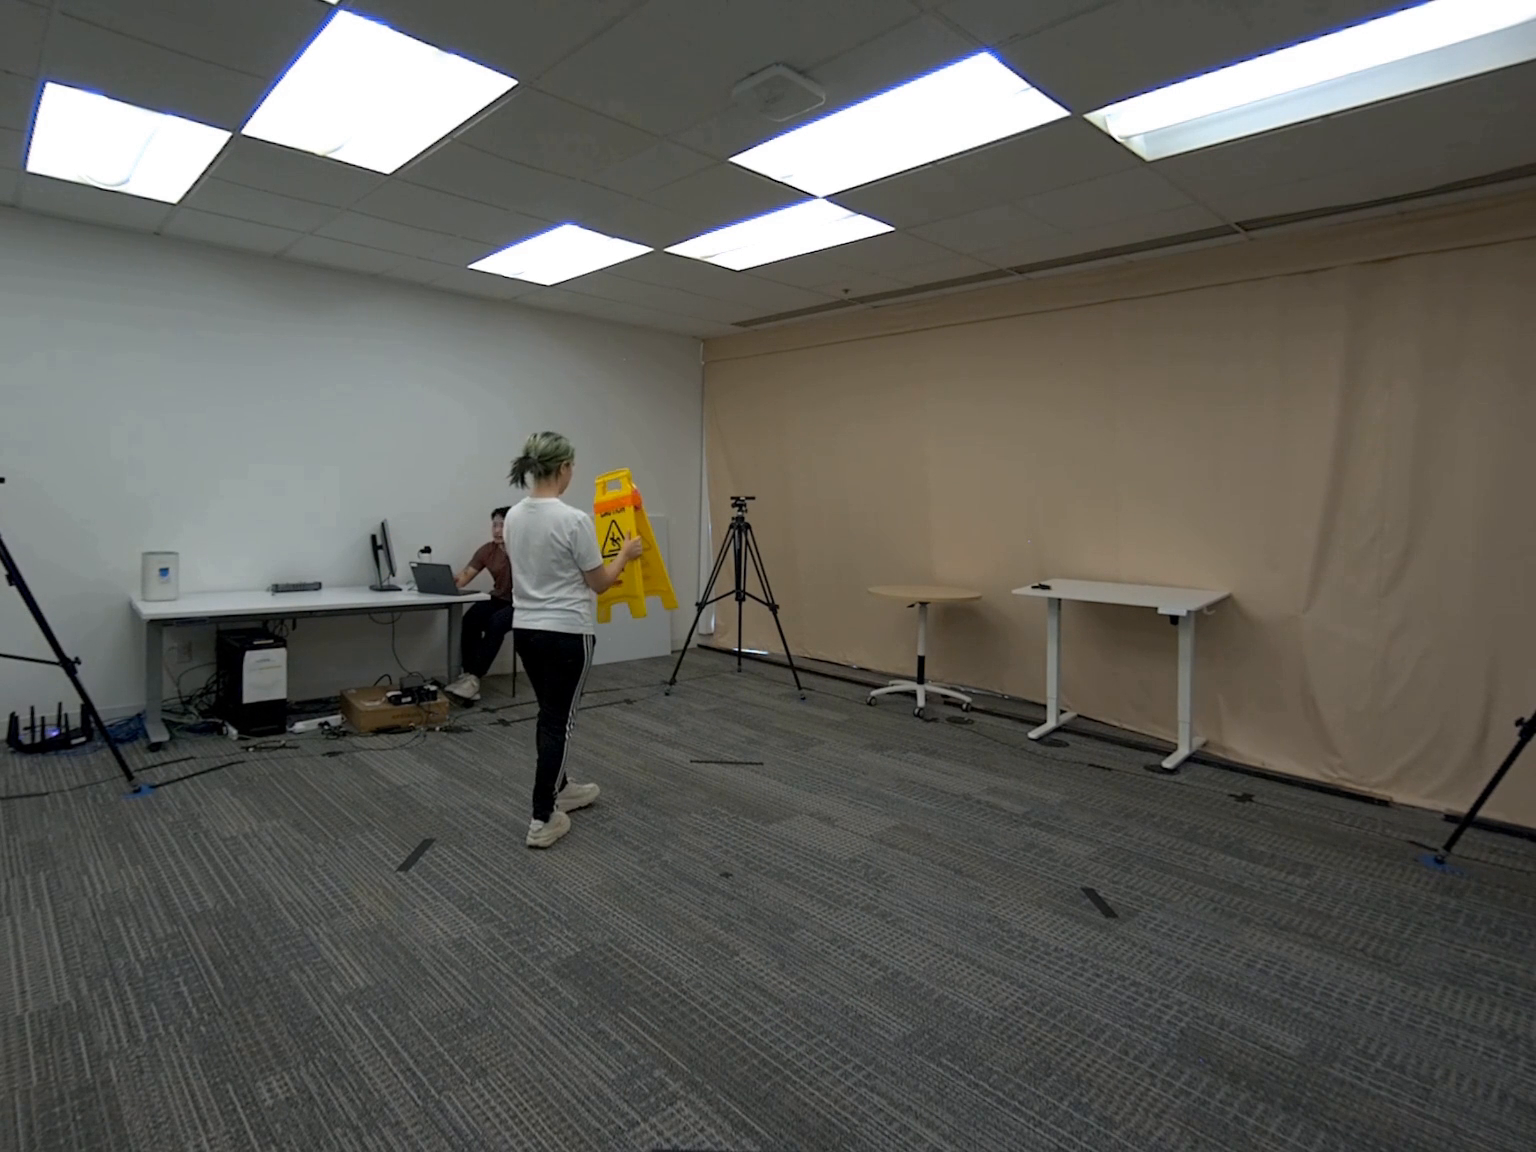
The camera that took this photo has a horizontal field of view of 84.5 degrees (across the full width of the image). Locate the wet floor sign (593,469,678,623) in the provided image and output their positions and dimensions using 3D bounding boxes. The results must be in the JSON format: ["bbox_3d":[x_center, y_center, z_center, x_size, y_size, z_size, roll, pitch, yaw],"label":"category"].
[{"bbox_3d":[-0.648,-0.140,3.750,0.287,0.646,0.284,-10,-1,33],"label":"wet floor sign"}]
